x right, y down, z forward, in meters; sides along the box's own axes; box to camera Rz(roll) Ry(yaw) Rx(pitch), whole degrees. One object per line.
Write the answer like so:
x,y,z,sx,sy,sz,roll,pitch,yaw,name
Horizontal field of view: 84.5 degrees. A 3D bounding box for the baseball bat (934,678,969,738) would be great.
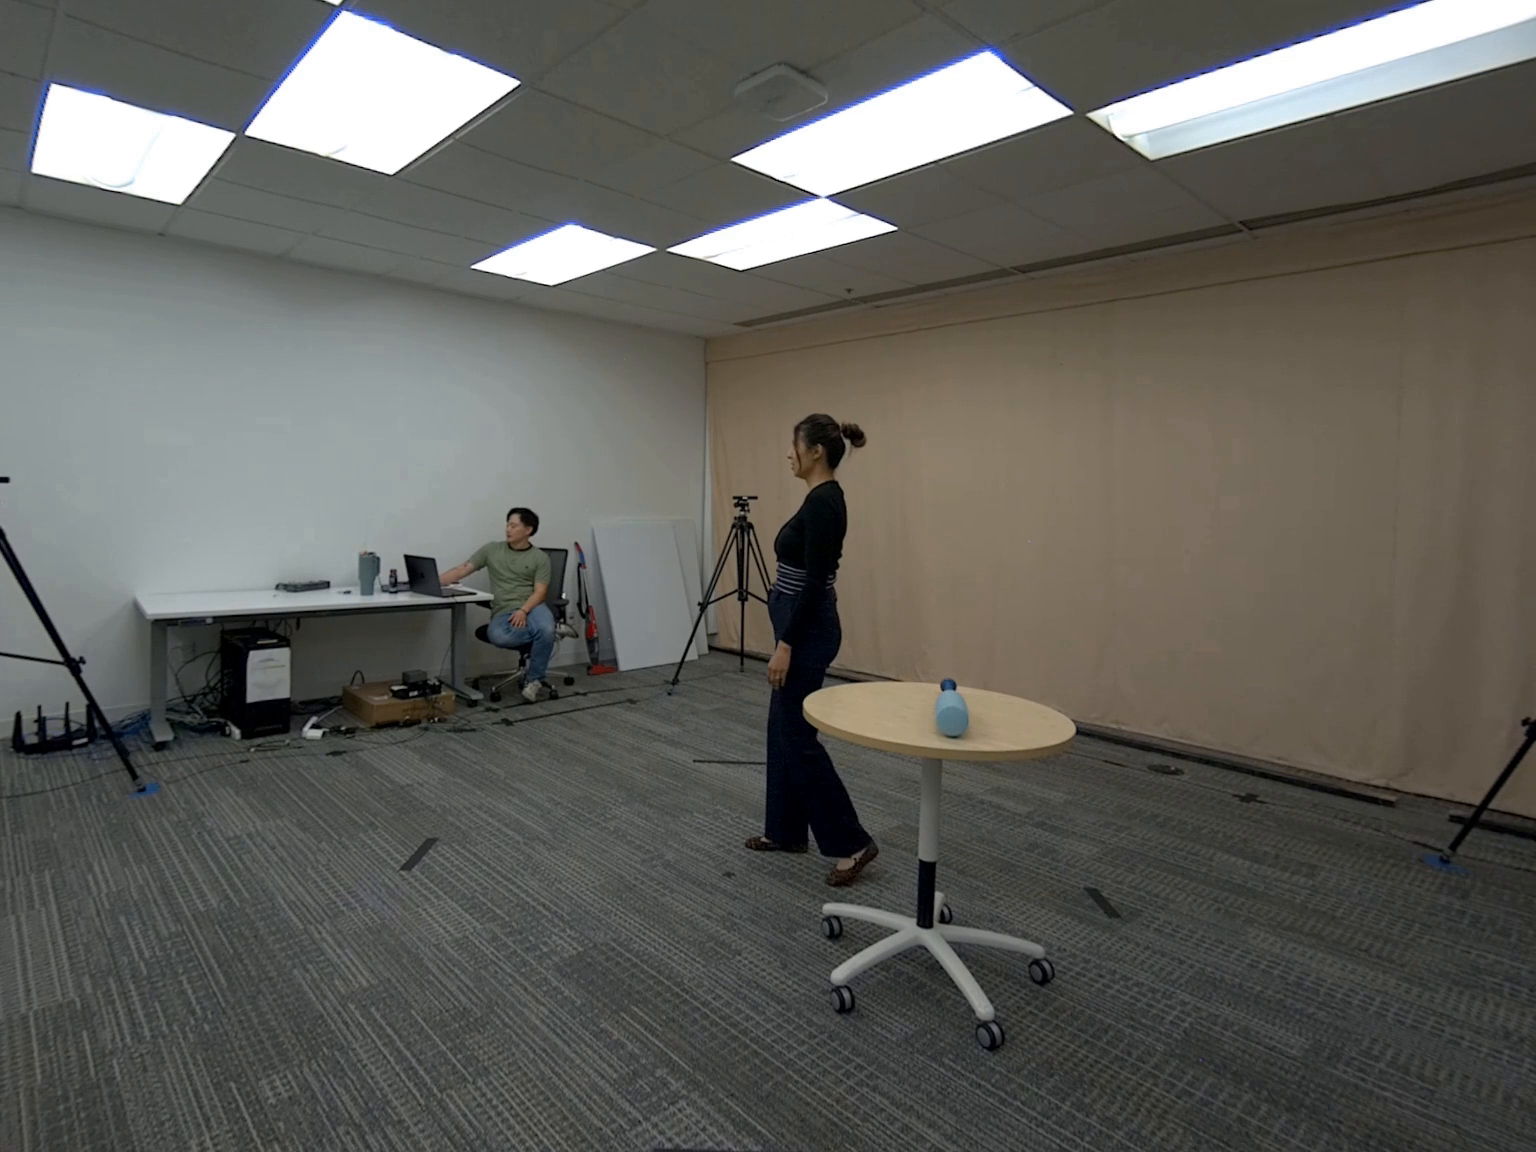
0.522,0.363,2.421,0.090,0.089,0.538,2,4,11,baseball bat
